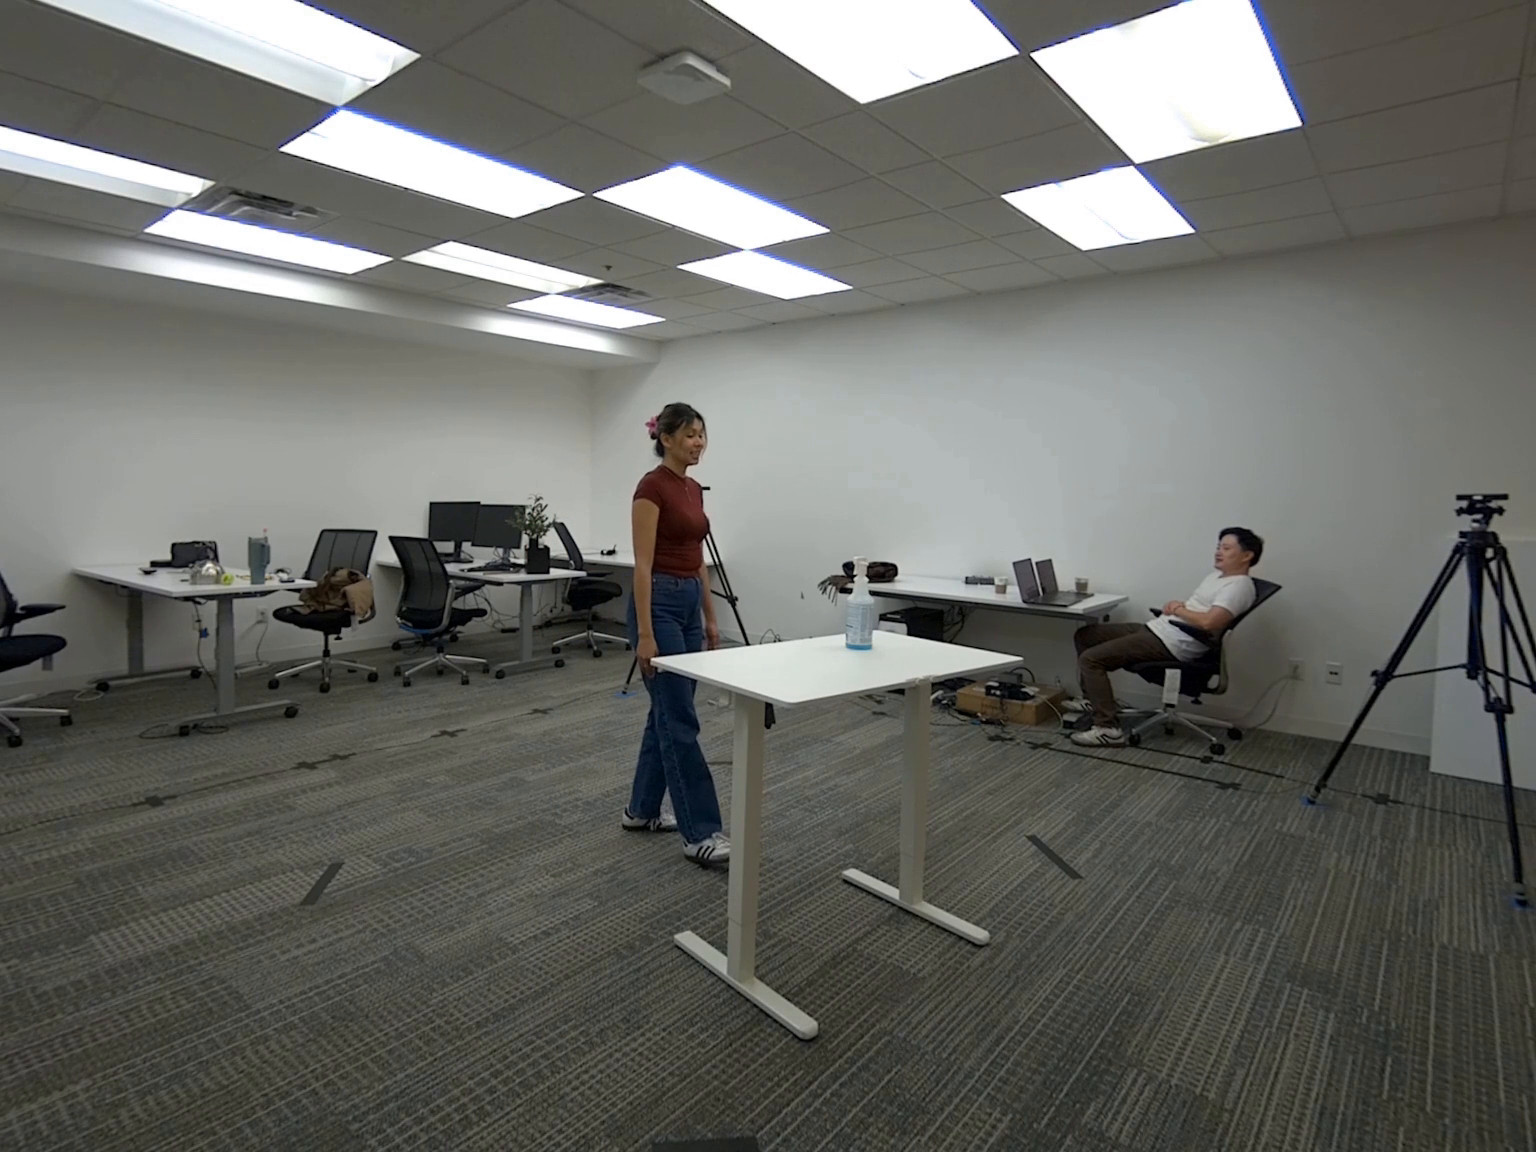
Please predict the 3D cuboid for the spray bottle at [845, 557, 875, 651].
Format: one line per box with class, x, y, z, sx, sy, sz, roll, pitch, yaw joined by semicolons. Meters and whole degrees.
spray bottle;0.289;0.086;2.740;0.087;0.296;0.090;0;4;-30
